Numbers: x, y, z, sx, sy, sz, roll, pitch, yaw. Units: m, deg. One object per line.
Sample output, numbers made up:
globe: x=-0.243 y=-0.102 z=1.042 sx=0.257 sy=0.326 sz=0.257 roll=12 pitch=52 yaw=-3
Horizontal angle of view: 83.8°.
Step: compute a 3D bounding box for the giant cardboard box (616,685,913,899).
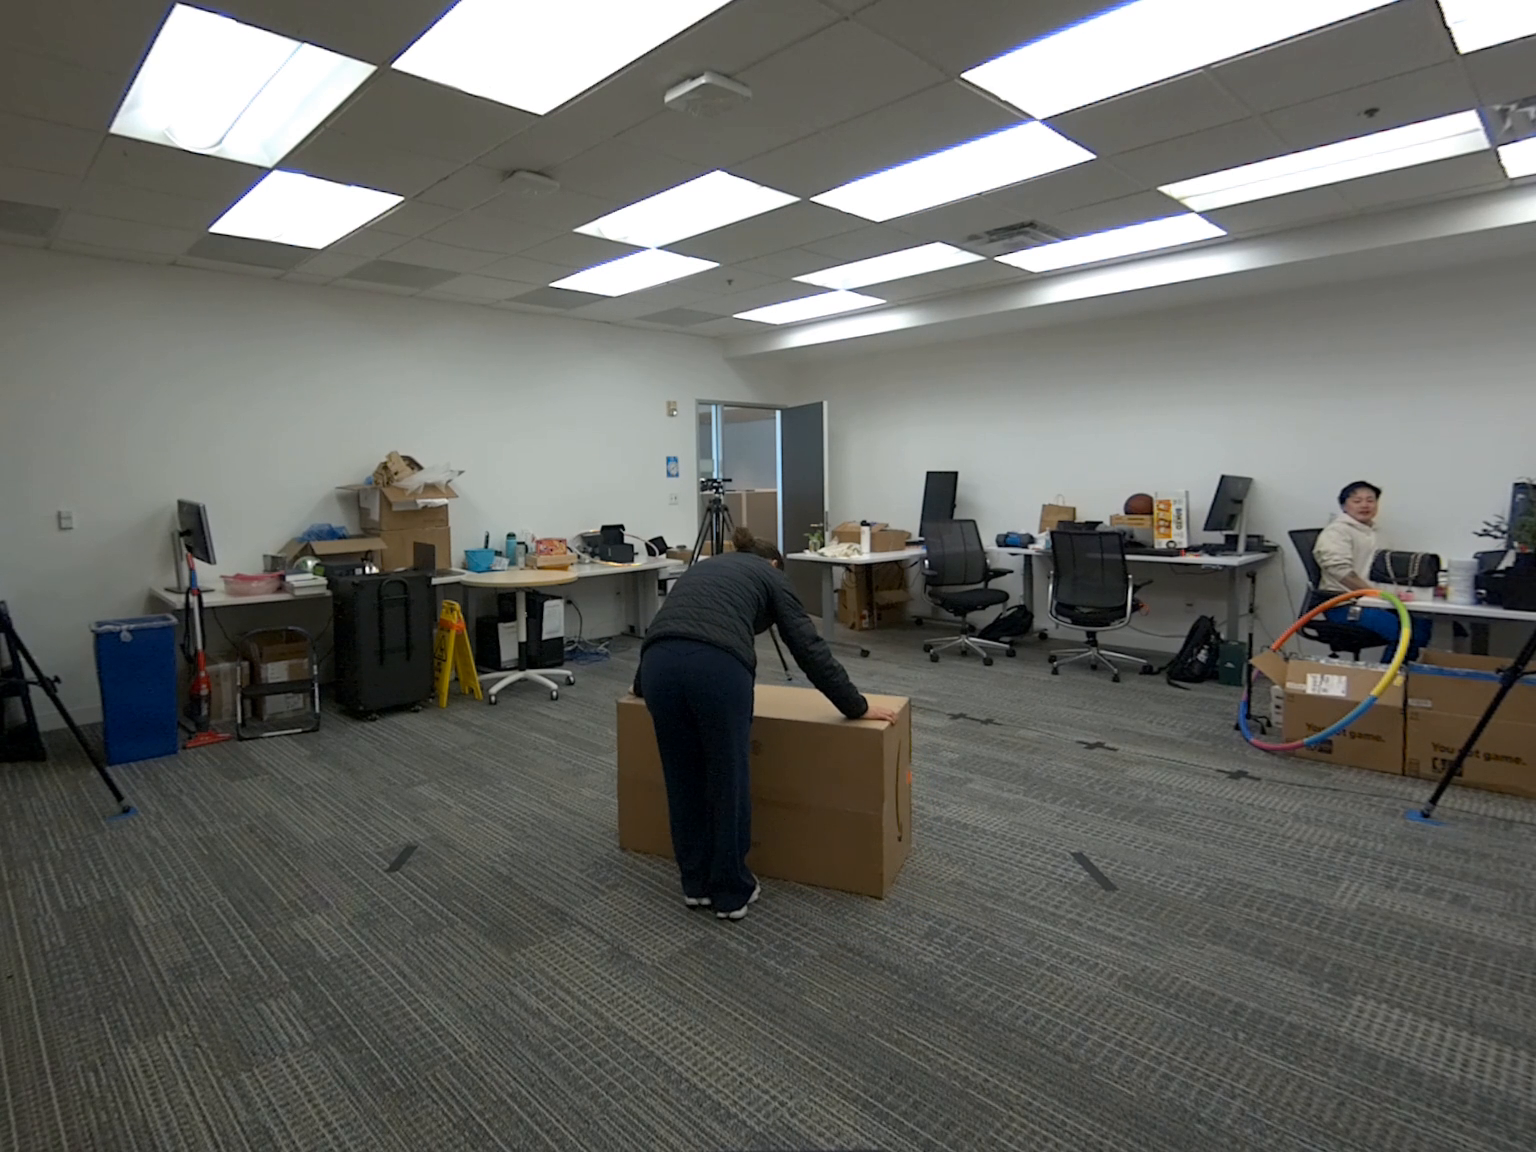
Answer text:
giant cardboard box: x=-0.024 y=0.742 z=3.226 sx=1.050 sy=0.581 sz=0.439 roll=1 pitch=7 yaw=24
